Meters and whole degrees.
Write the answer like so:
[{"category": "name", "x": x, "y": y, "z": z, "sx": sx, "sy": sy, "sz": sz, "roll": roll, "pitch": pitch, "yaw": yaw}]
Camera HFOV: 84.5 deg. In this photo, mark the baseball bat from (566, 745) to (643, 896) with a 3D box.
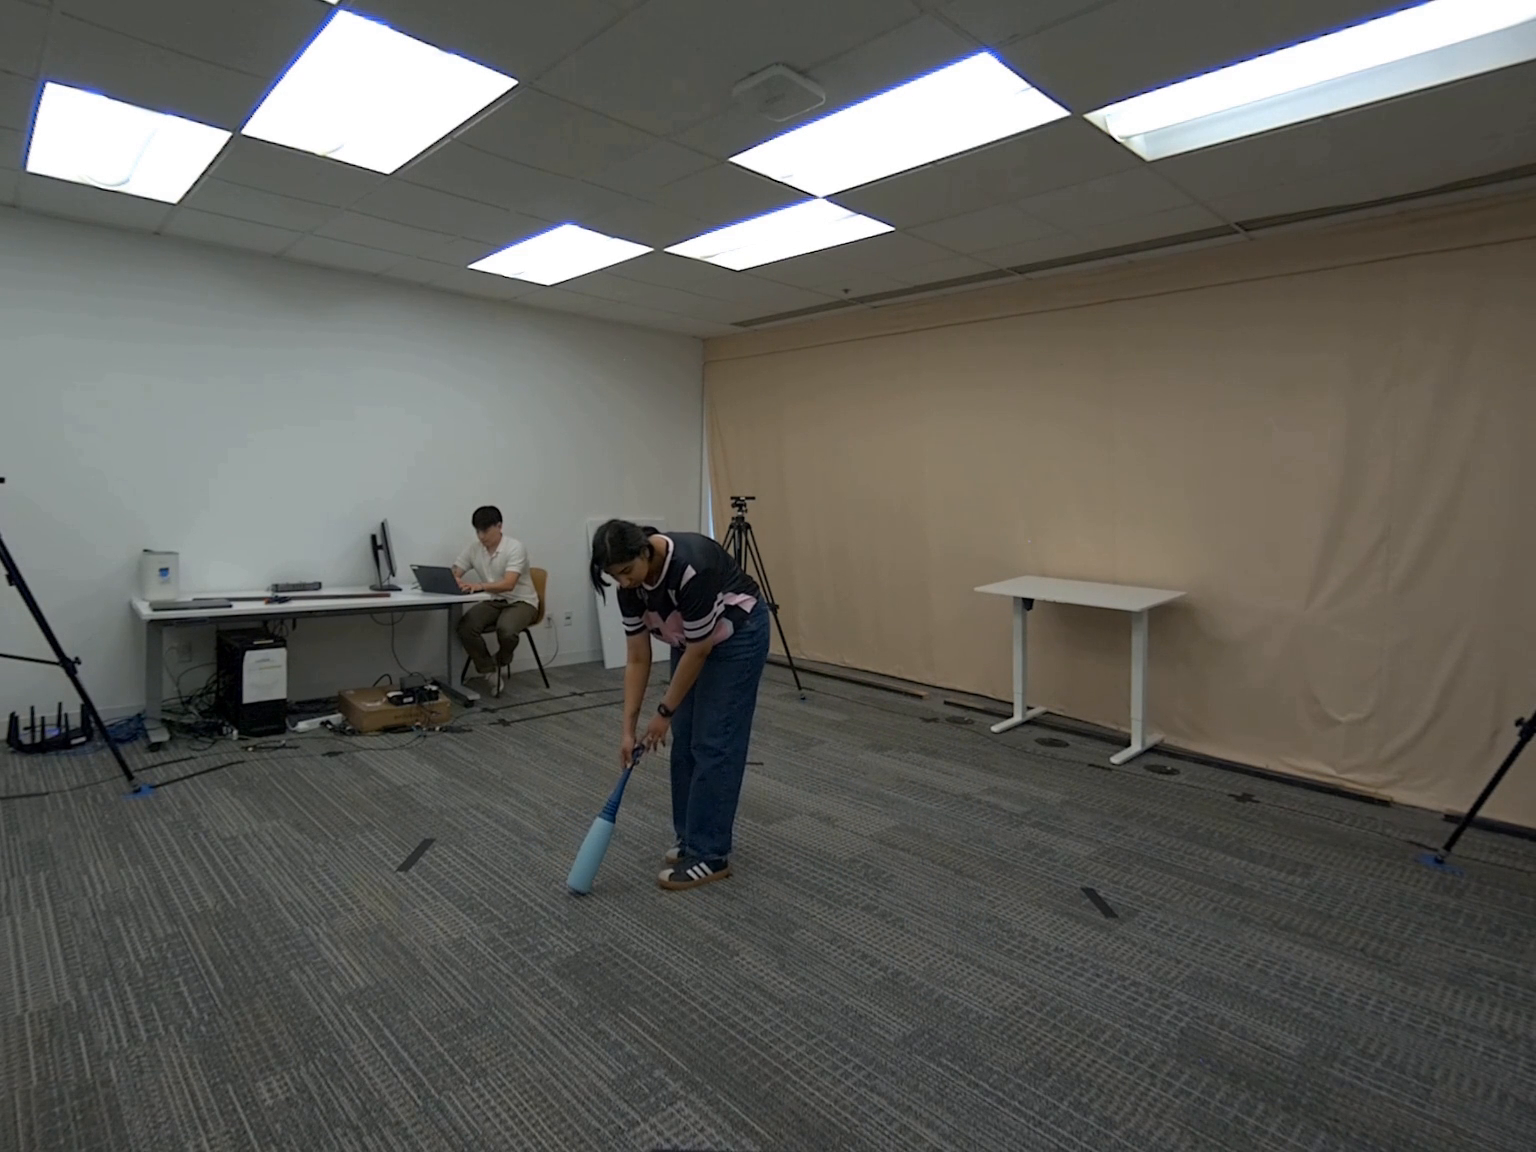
[{"category": "baseball bat", "x": -0.578, "y": 0.860, "z": 3.004, "sx": 0.090, "sy": 0.546, "sz": 0.088, "roll": 22, "pitch": -17, "yaw": 6}]
